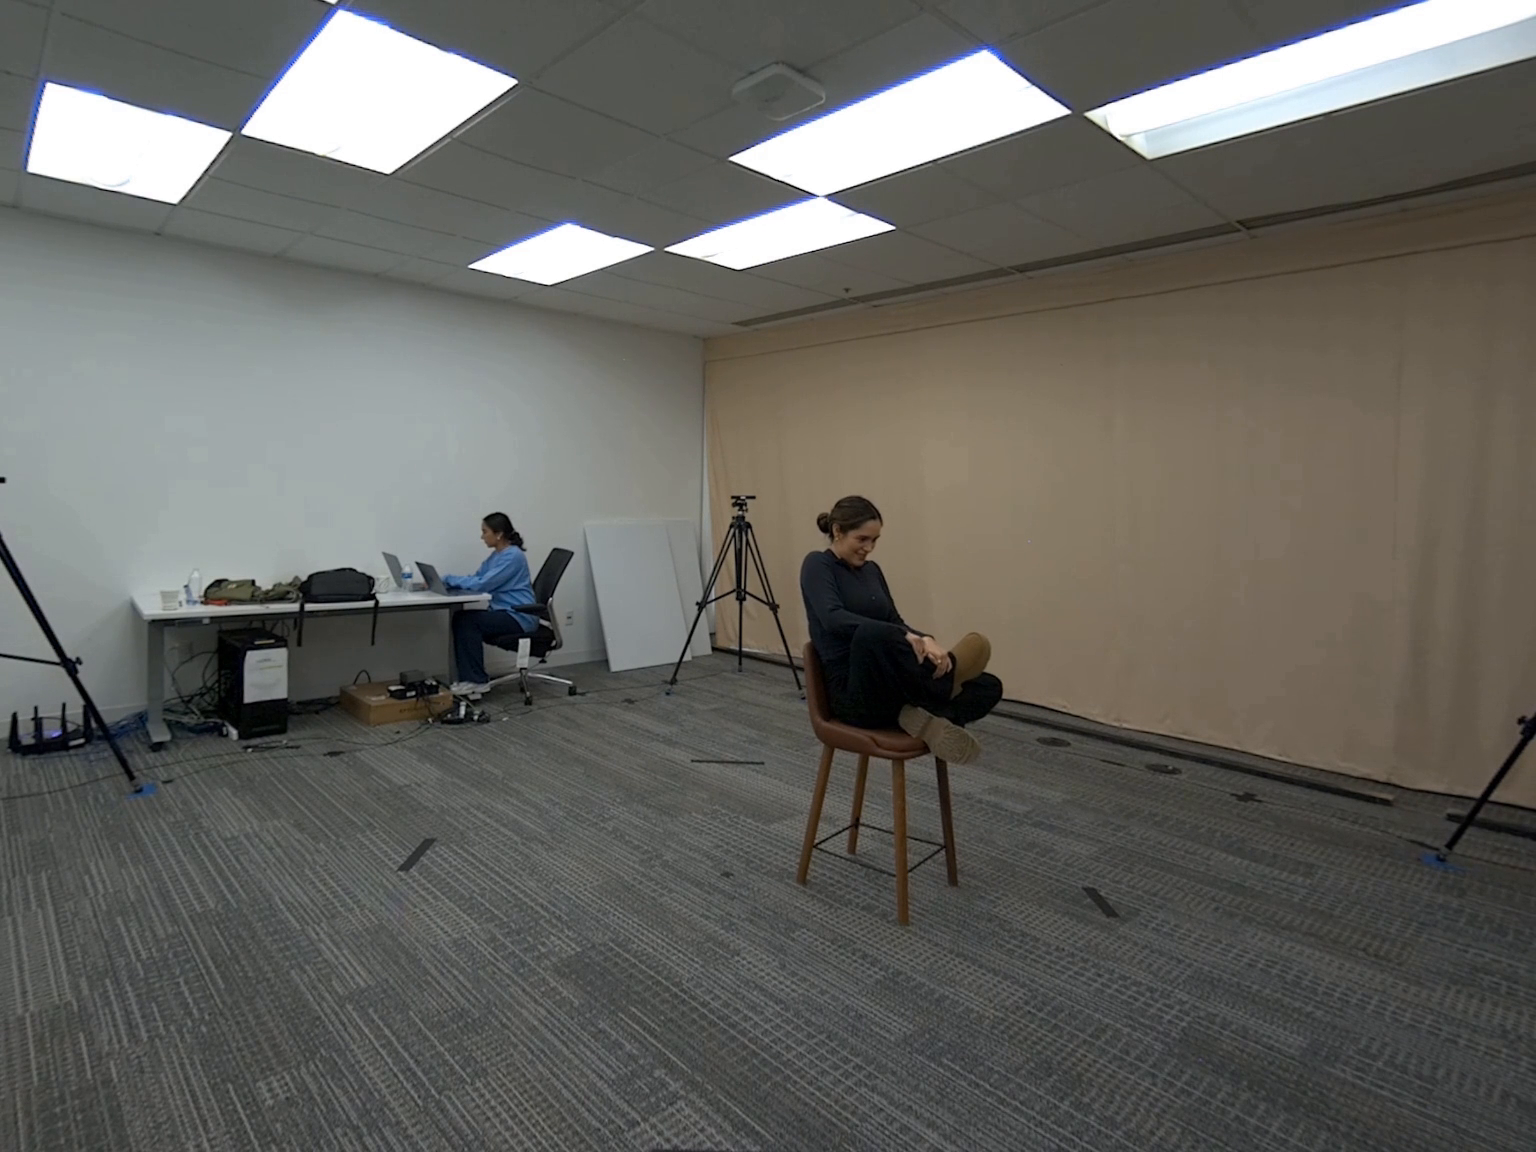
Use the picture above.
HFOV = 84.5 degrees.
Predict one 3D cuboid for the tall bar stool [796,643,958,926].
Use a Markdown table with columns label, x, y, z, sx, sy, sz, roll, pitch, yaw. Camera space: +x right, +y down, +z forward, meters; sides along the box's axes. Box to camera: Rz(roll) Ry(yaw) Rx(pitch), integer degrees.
| label | x | y | z | sx | sy | sz | roll | pitch | yaw |
| --- | --- | --- | --- | --- | --- | --- | --- | --- | --- |
| tall bar stool | 0.392 | 0.688 | 3.036 | 0.479 | 0.888 | 0.446 | 2 | 2 | 39 |
